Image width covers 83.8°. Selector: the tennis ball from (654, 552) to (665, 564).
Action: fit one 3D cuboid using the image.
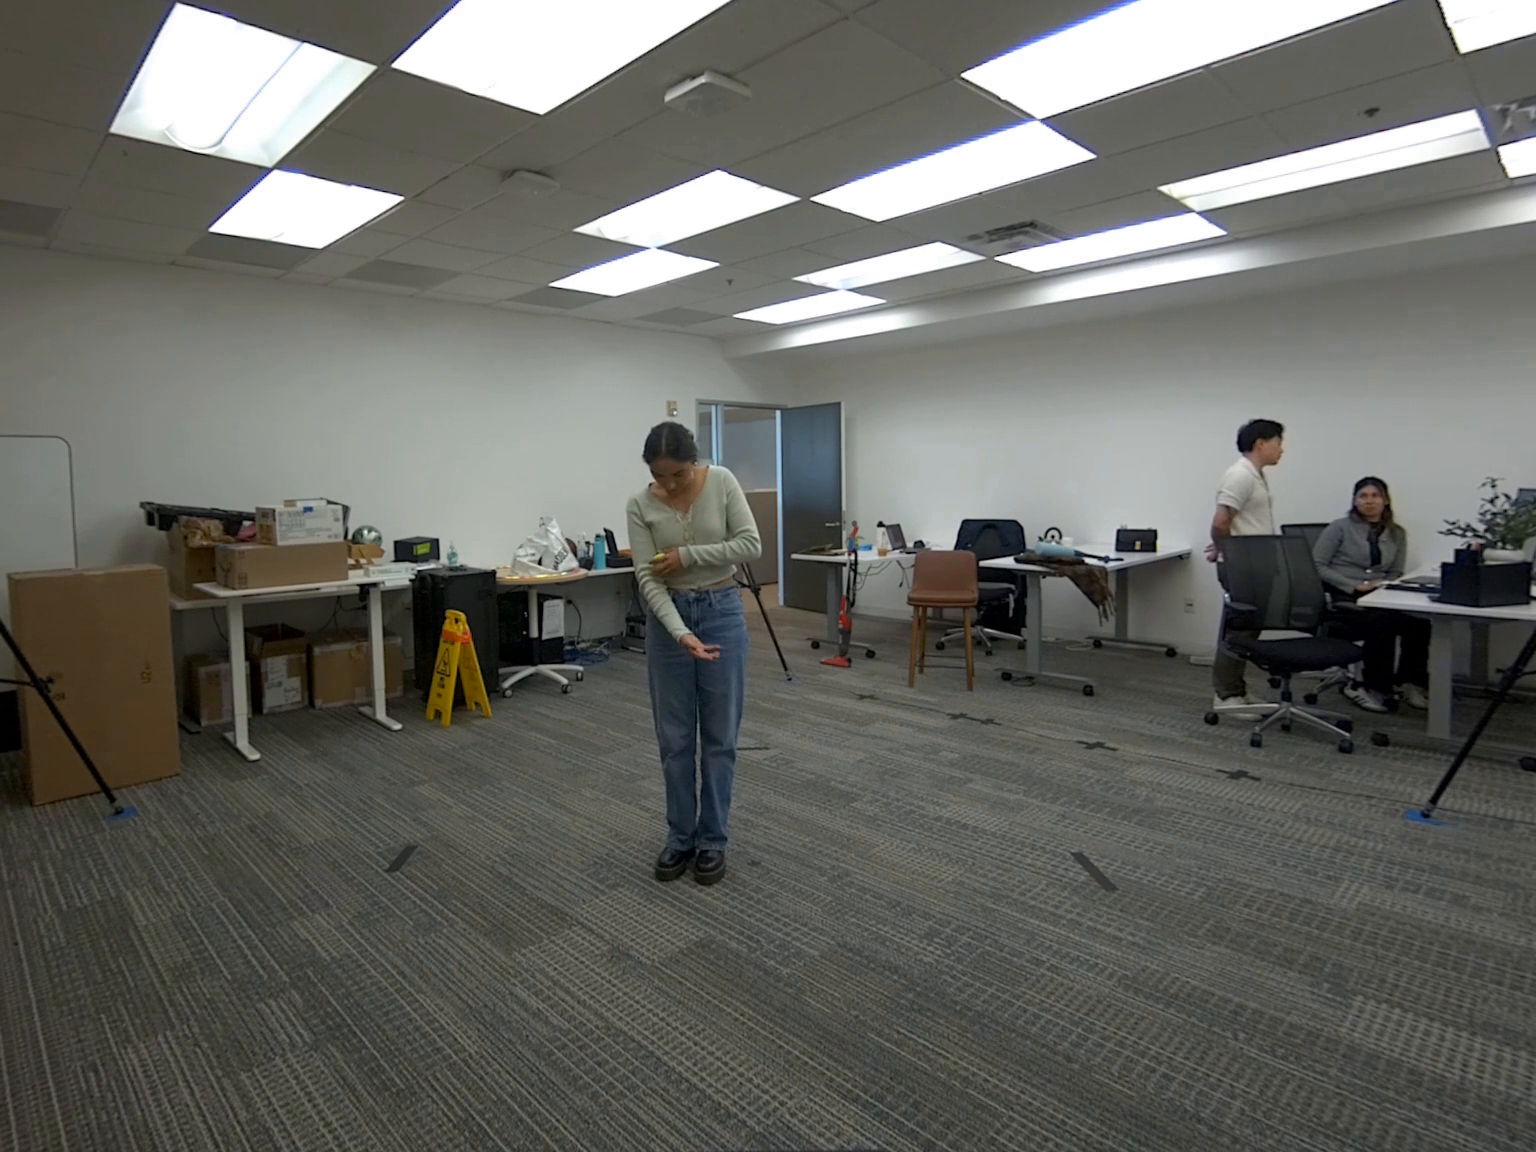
[{"bbox_3d":[-0.319,-0.015,2.894,0.066,0.066,0.067,-1,5,-2],"label":"tennis ball"}]
